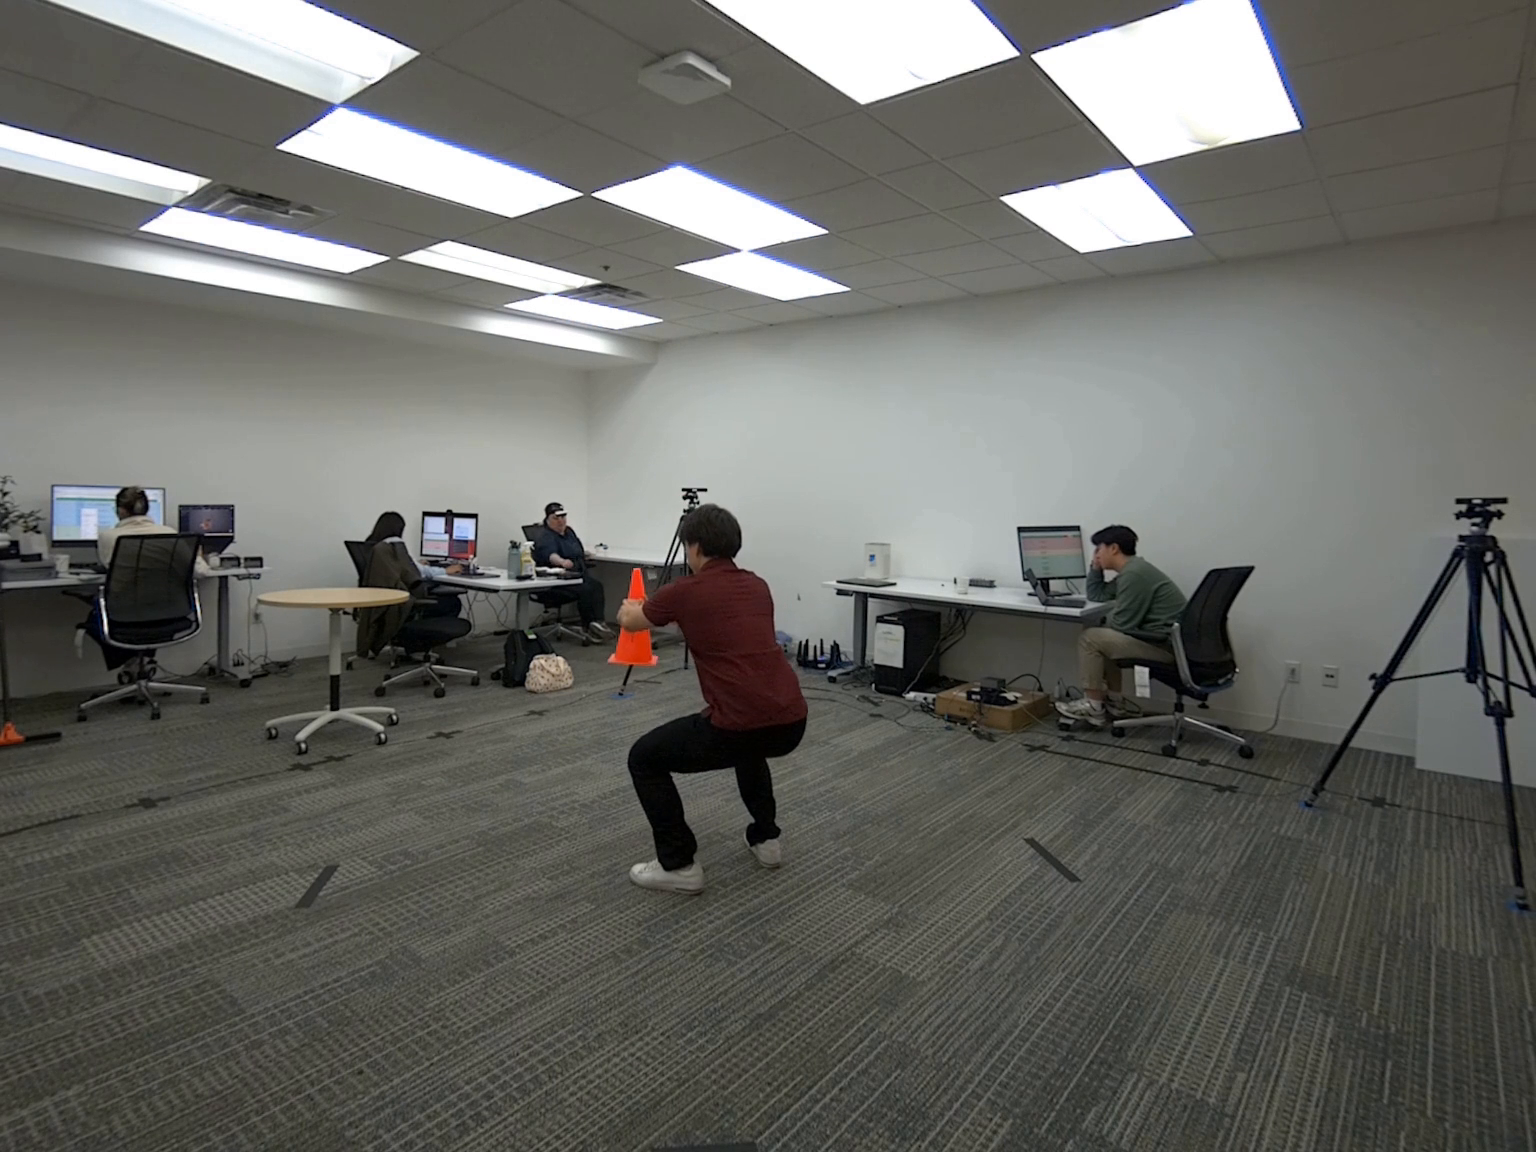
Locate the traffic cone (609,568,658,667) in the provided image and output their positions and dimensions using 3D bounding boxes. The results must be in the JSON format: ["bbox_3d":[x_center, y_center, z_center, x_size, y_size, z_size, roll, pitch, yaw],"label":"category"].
[{"bbox_3d":[-0.566,0.163,3.549,0.203,0.382,0.206,4,4,-2],"label":"traffic cone"}]
